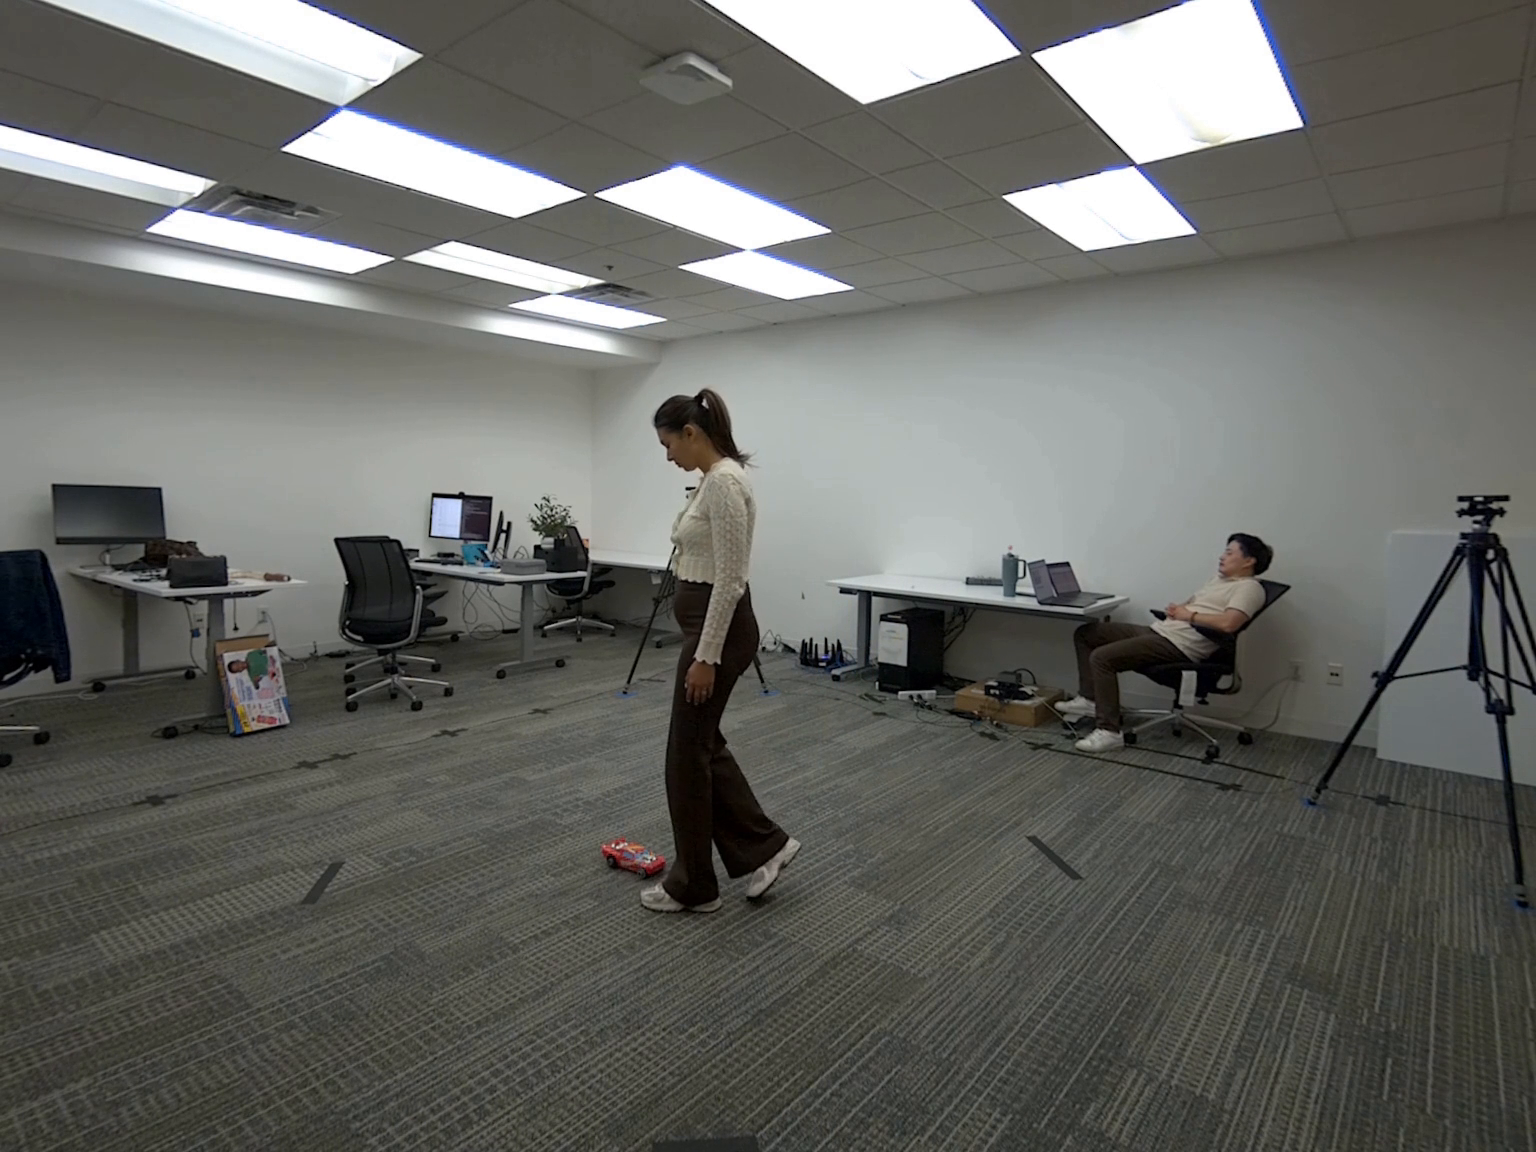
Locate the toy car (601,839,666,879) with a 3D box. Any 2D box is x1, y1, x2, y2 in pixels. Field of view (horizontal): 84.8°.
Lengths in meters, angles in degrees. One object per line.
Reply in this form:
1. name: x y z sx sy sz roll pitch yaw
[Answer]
1. toy car: -0.505 1.032 3.108 0.264 0.082 0.126 17 12 34
